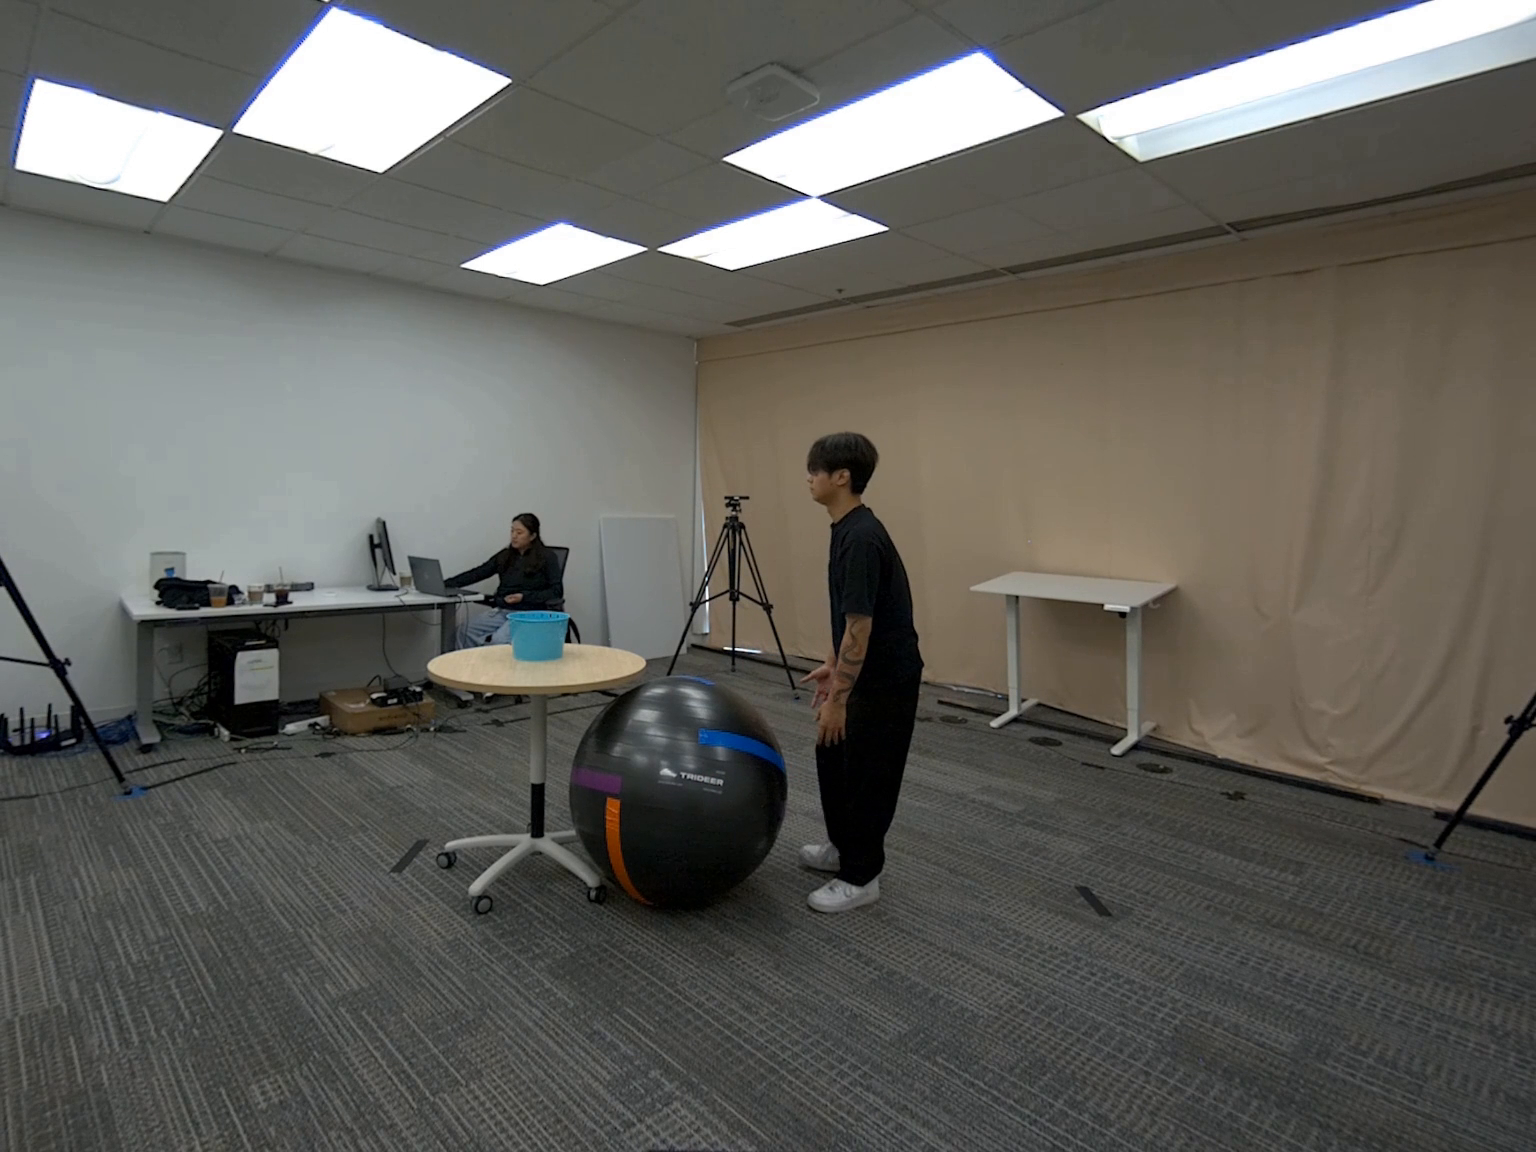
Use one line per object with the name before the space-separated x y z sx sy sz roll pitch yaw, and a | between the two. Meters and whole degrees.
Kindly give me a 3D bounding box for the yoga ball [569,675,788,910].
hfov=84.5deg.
yoga ball | -0.318 0.740 2.939 0.757 0.756 0.761 1 4 -1
